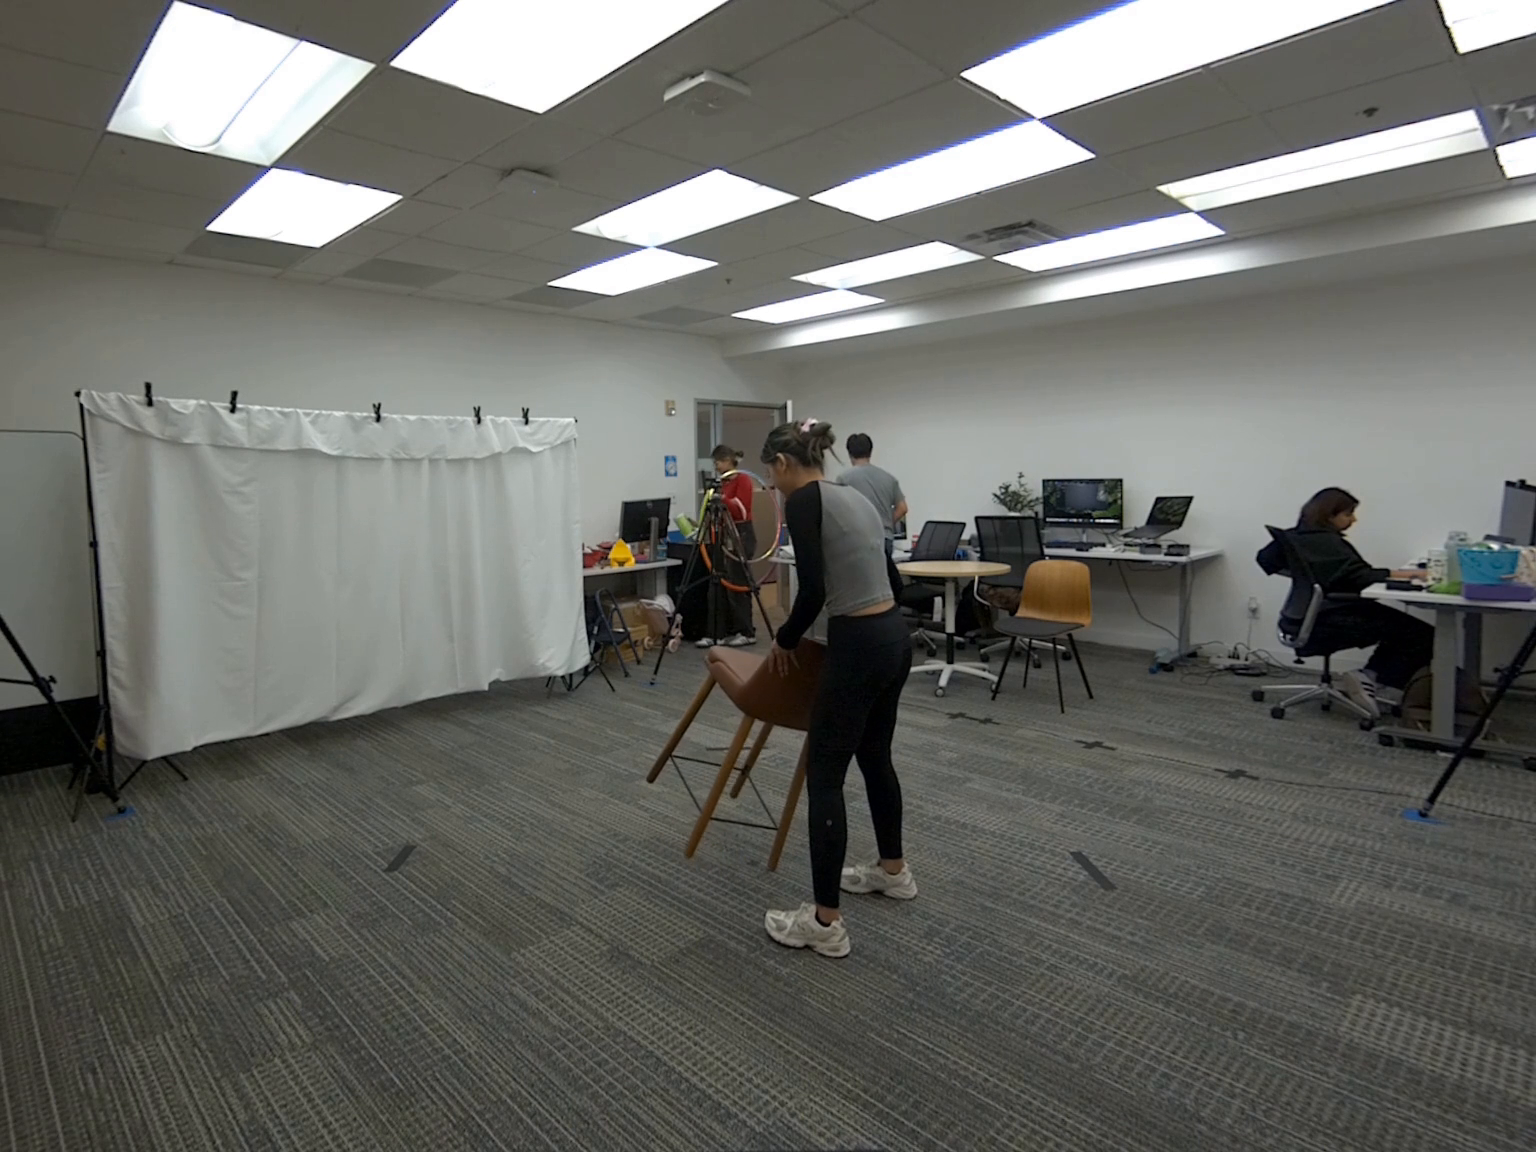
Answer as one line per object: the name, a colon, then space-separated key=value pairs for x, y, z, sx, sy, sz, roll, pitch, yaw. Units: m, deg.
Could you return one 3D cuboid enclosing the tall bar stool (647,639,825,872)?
tall bar stool: x=-0.030 y=0.535 z=3.068 sx=0.443 sy=0.885 sz=0.484 roll=19 pitch=14 yaw=-28
